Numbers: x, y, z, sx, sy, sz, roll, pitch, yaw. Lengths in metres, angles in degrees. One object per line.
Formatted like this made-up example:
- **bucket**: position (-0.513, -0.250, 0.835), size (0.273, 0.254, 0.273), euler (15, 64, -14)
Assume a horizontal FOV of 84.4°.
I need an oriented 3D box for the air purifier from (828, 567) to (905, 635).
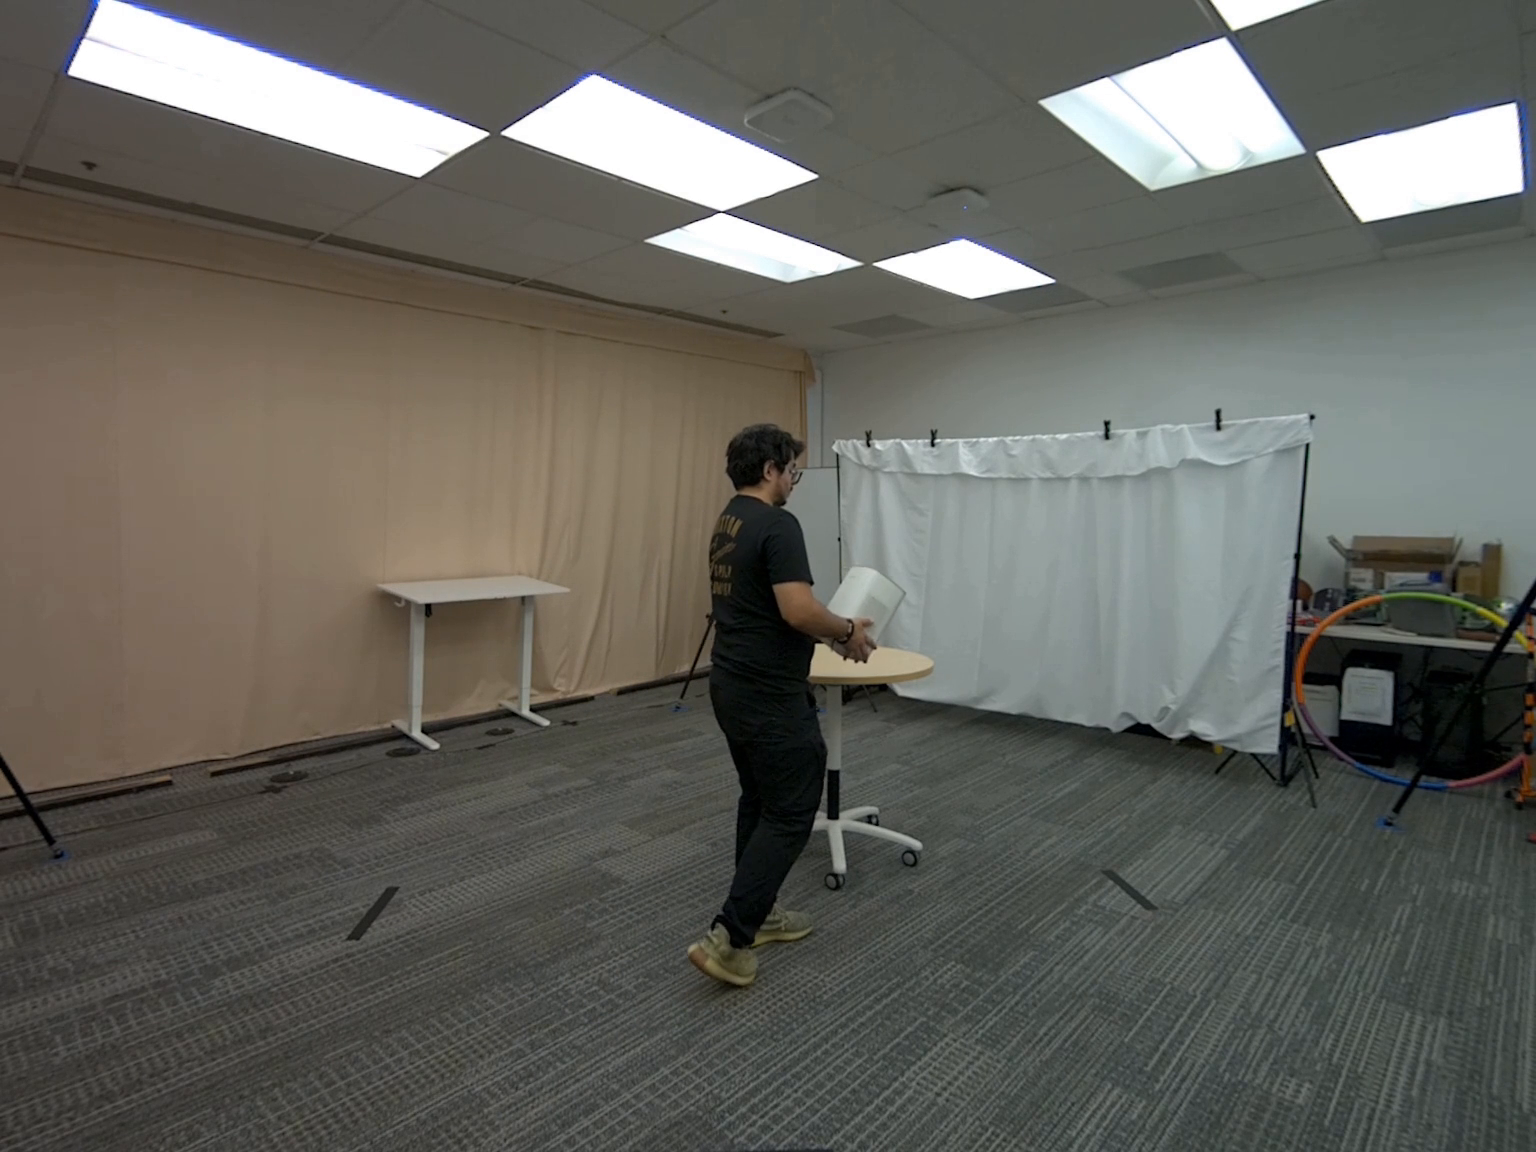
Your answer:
- **air purifier**: position (0.297, 0.120, 2.682), size (0.170, 0.262, 0.172), euler (36, -14, -18)
